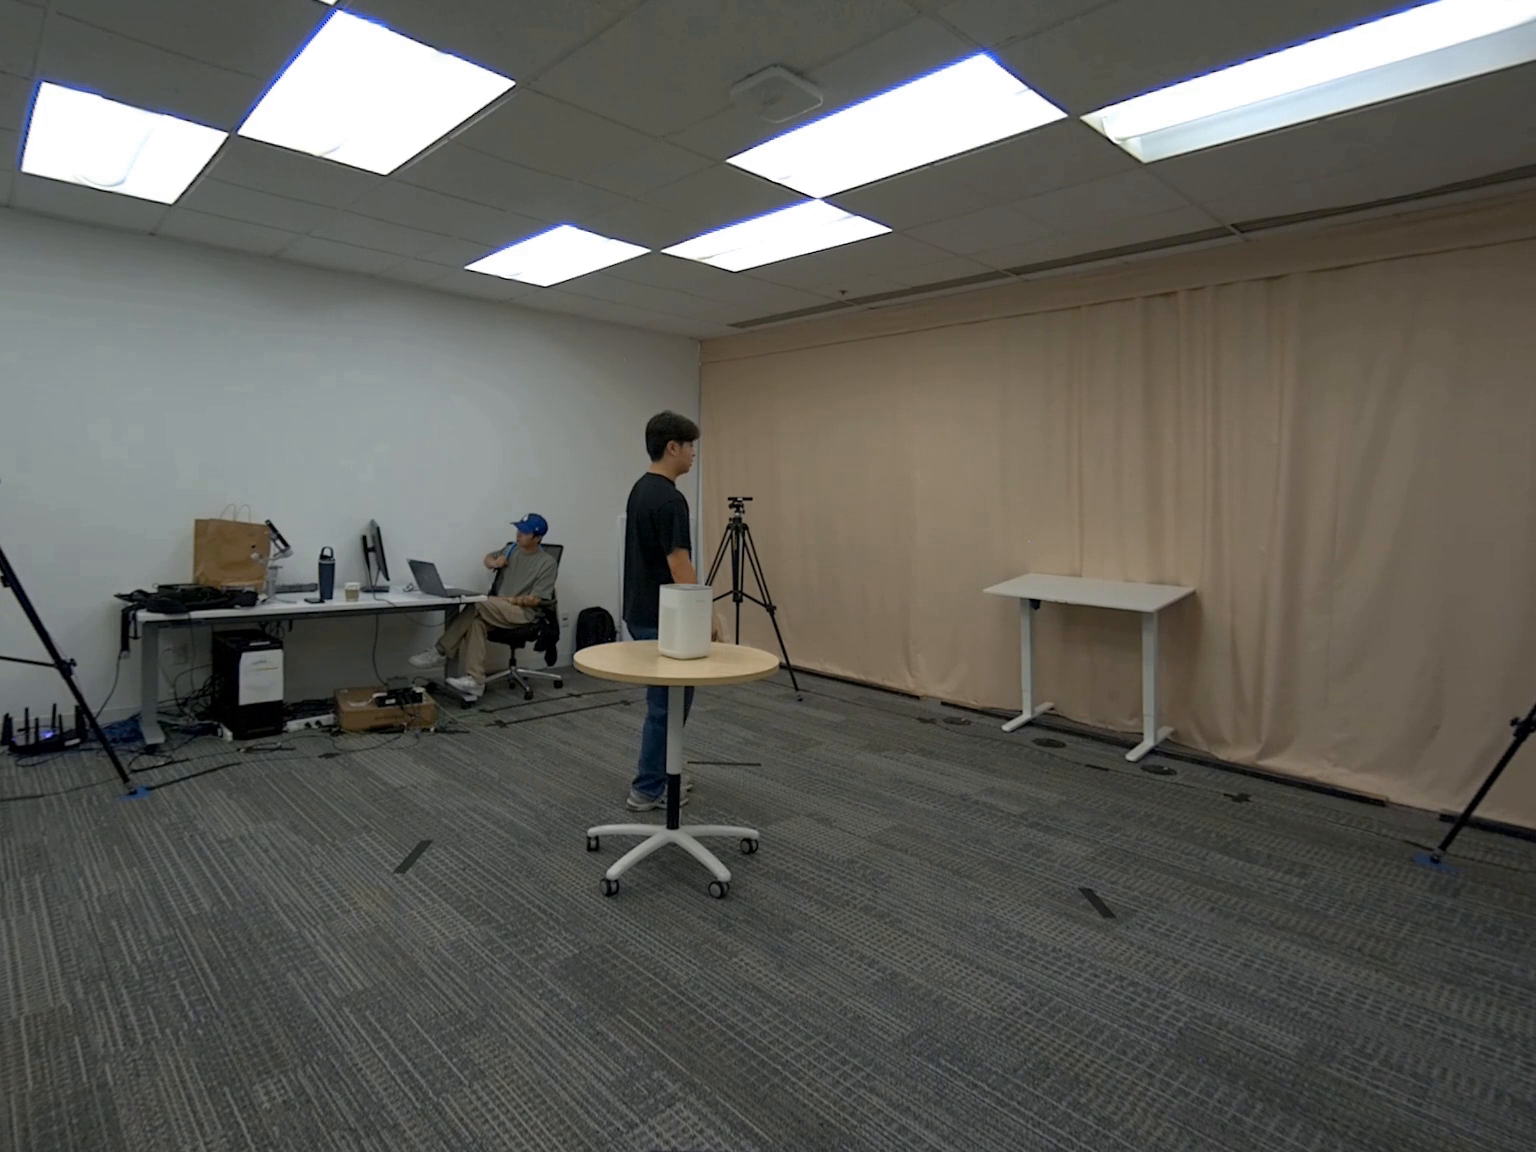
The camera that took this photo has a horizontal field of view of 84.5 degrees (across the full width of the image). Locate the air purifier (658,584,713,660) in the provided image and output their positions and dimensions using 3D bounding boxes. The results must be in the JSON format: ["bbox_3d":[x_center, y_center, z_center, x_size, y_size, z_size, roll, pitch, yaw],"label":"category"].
[{"bbox_3d":[-0.321,0.175,3.163,0.167,0.265,0.176,-3,5,-44],"label":"air purifier"}]
